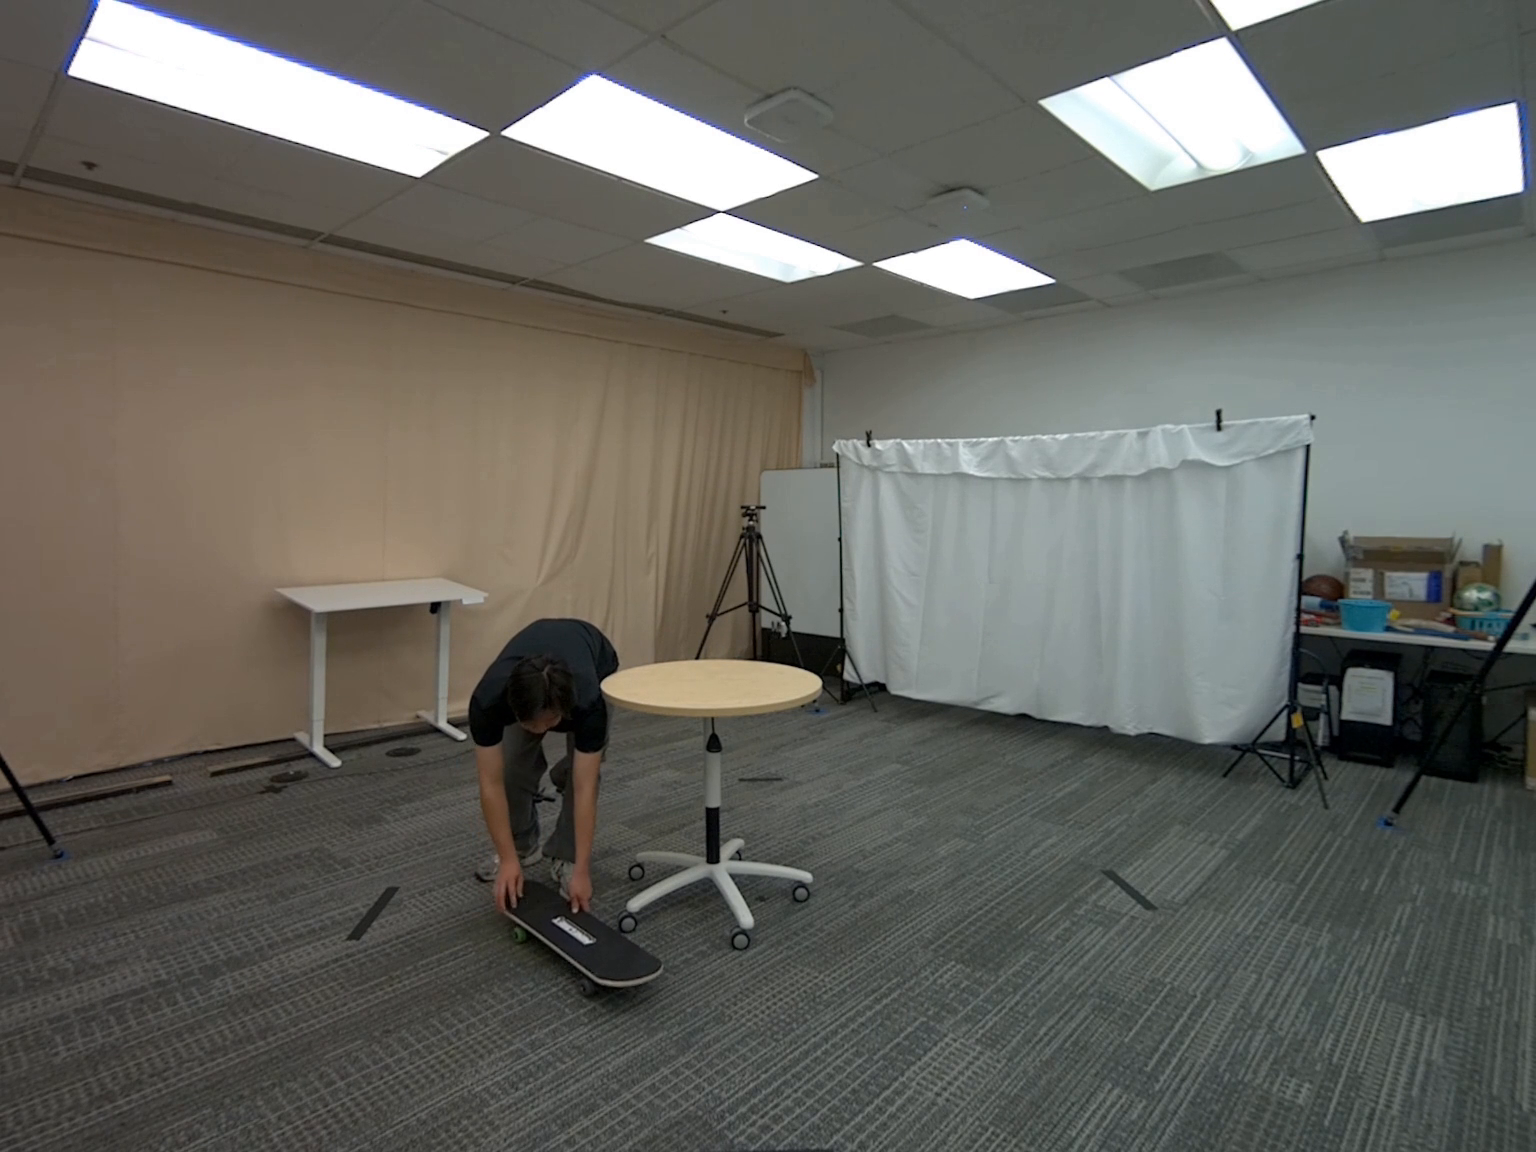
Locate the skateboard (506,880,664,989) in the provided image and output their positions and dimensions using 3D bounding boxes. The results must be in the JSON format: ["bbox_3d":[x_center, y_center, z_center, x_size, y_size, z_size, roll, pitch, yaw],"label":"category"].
[{"bbox_3d":[-0.598,1.122,2.598,0.187,0.110,0.812,-4,6,-42],"label":"skateboard"}]
